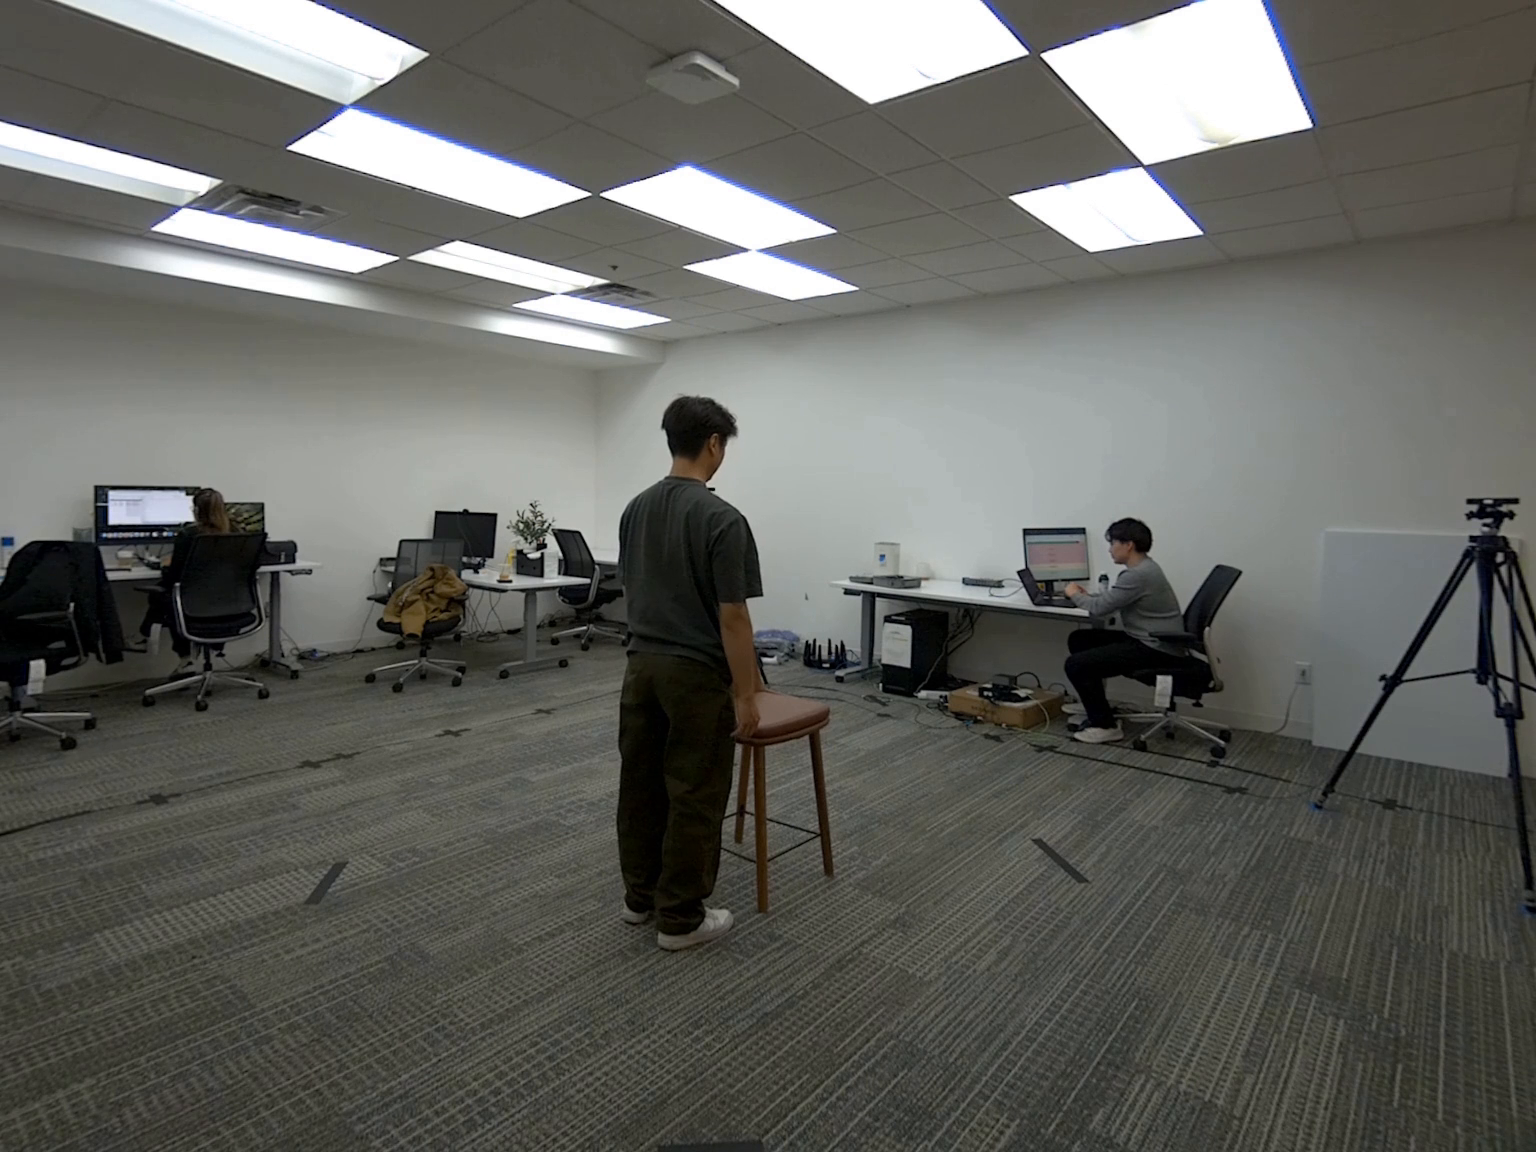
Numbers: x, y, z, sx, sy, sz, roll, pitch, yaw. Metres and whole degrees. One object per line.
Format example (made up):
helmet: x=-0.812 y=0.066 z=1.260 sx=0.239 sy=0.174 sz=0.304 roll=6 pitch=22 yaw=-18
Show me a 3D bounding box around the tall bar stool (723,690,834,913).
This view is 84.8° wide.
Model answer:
tall bar stool: x=-0.060 y=0.637 z=3.069 sx=0.483 sy=0.889 sz=0.442 roll=2 pitch=2 yaw=41
